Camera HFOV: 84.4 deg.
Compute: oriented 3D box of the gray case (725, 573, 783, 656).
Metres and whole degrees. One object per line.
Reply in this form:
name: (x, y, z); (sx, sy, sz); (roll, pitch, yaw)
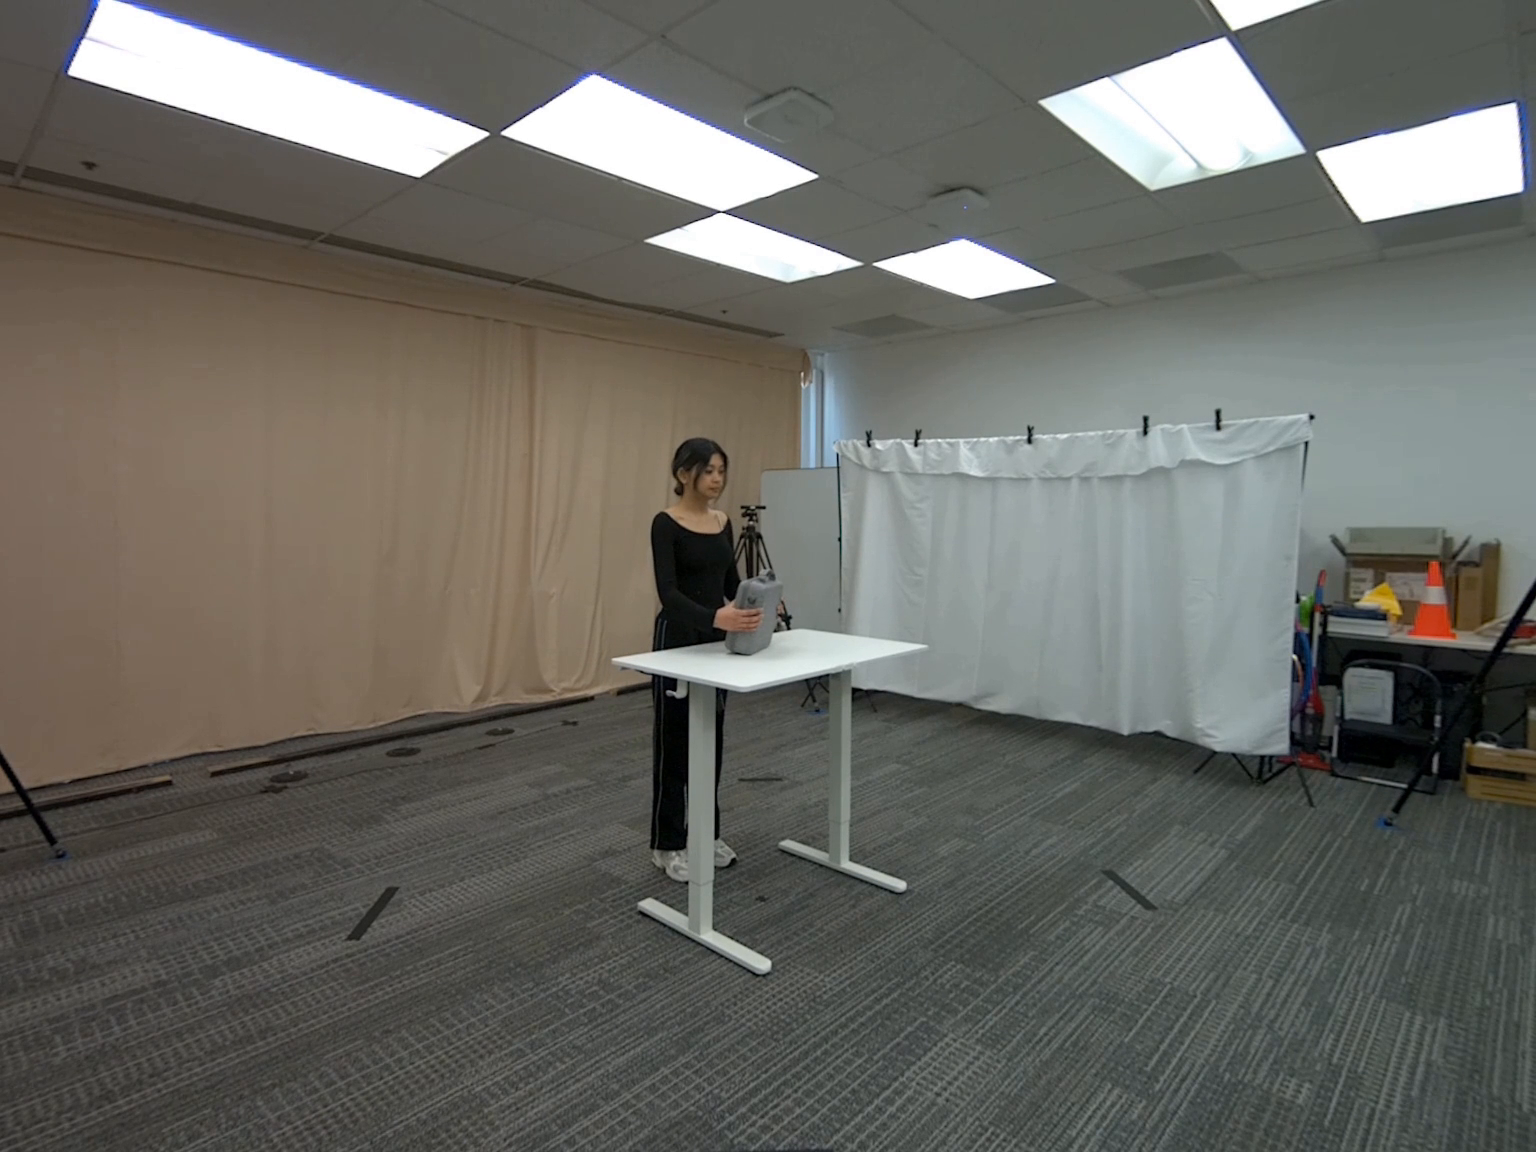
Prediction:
gray case: (-0.044, 0.132, 2.950); (0.106, 0.260, 0.253); (12, 8, 15)
